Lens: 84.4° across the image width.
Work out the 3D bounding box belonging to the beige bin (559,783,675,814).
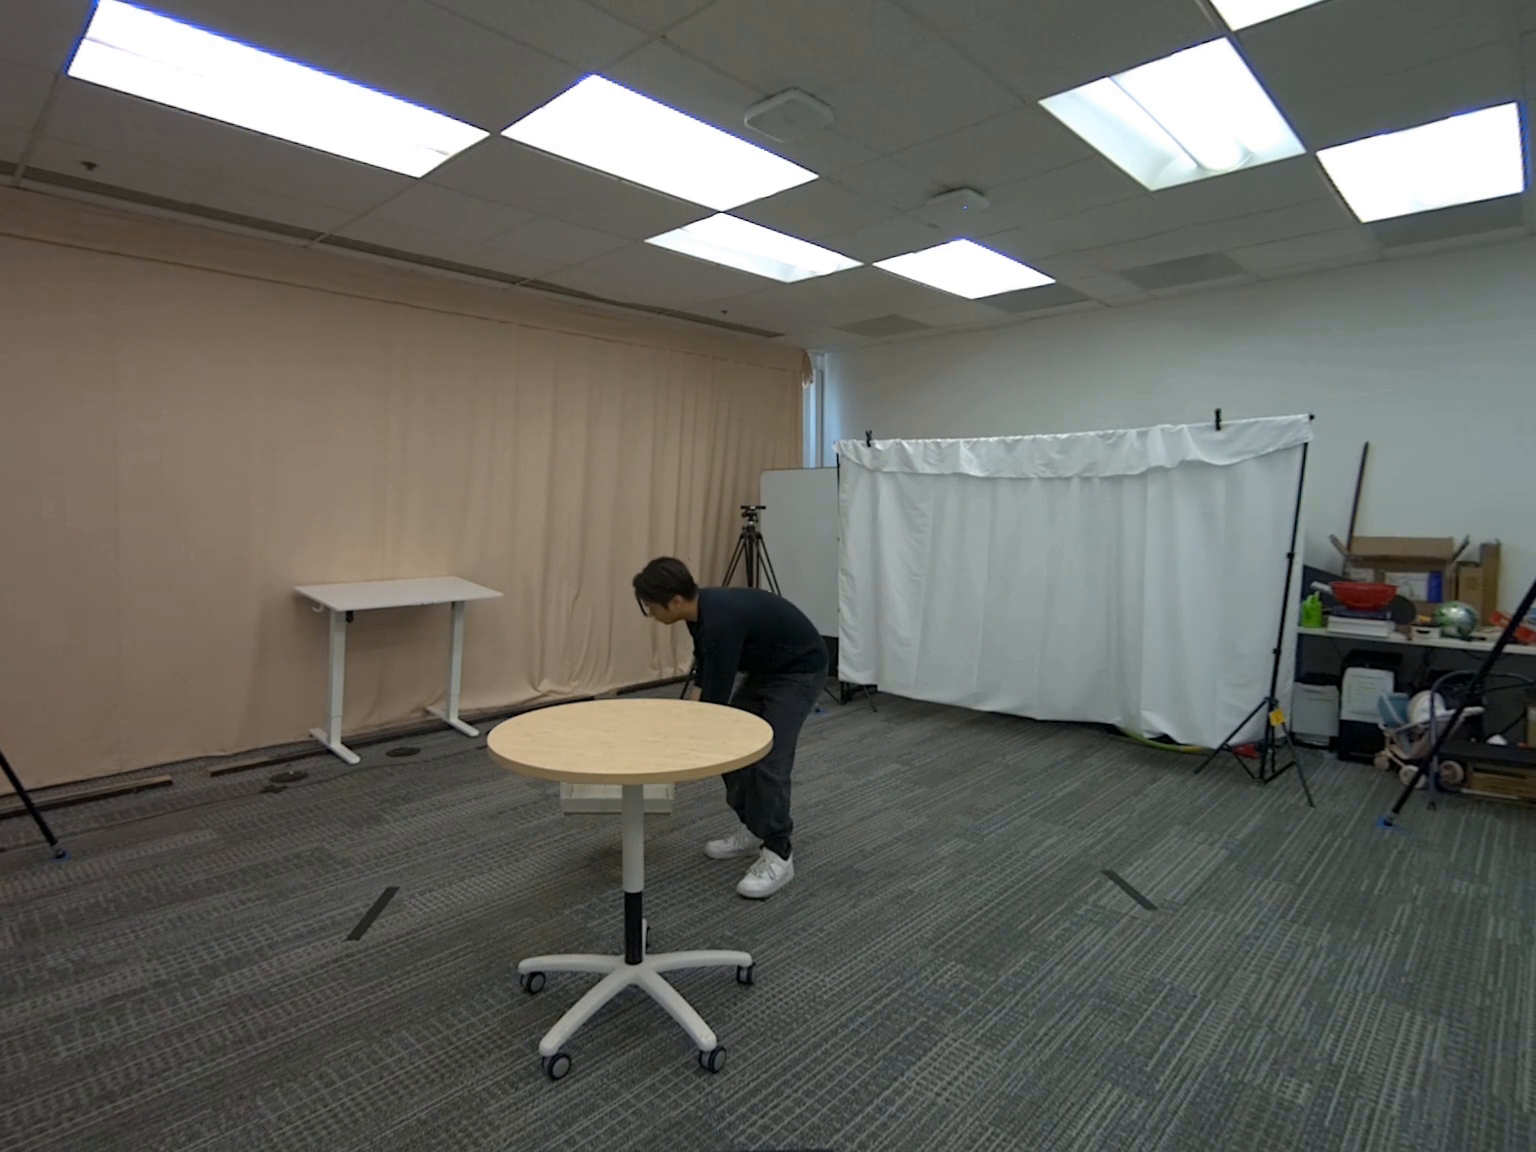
[{"bbox_3d":[-0.580,0.813,3.282,0.419,0.189,0.379,0,-1,-7],"label":"beige bin"}]
